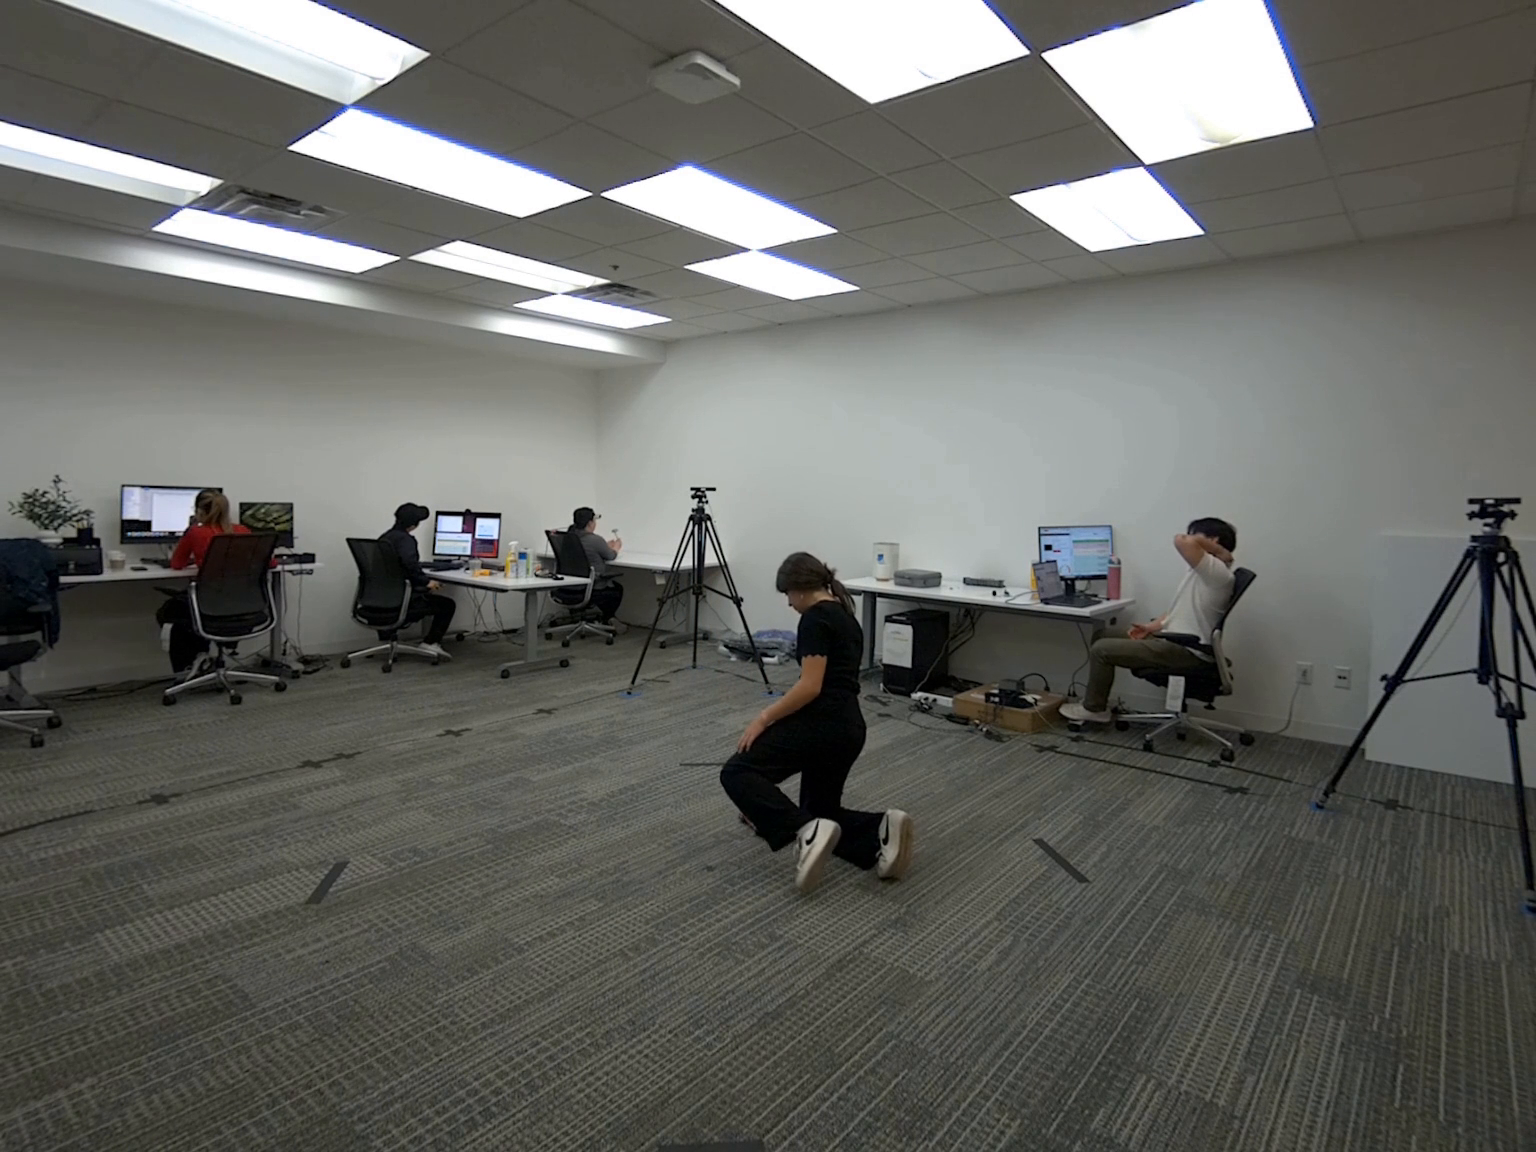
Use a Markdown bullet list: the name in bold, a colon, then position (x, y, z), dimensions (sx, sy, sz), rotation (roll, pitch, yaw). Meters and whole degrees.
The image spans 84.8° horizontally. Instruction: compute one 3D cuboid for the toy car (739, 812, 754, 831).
- **toy car**: position (-0.027, 0.996, 3.478), dimensions (0.127, 0.084, 0.259), rotation (0, -5, -24)
